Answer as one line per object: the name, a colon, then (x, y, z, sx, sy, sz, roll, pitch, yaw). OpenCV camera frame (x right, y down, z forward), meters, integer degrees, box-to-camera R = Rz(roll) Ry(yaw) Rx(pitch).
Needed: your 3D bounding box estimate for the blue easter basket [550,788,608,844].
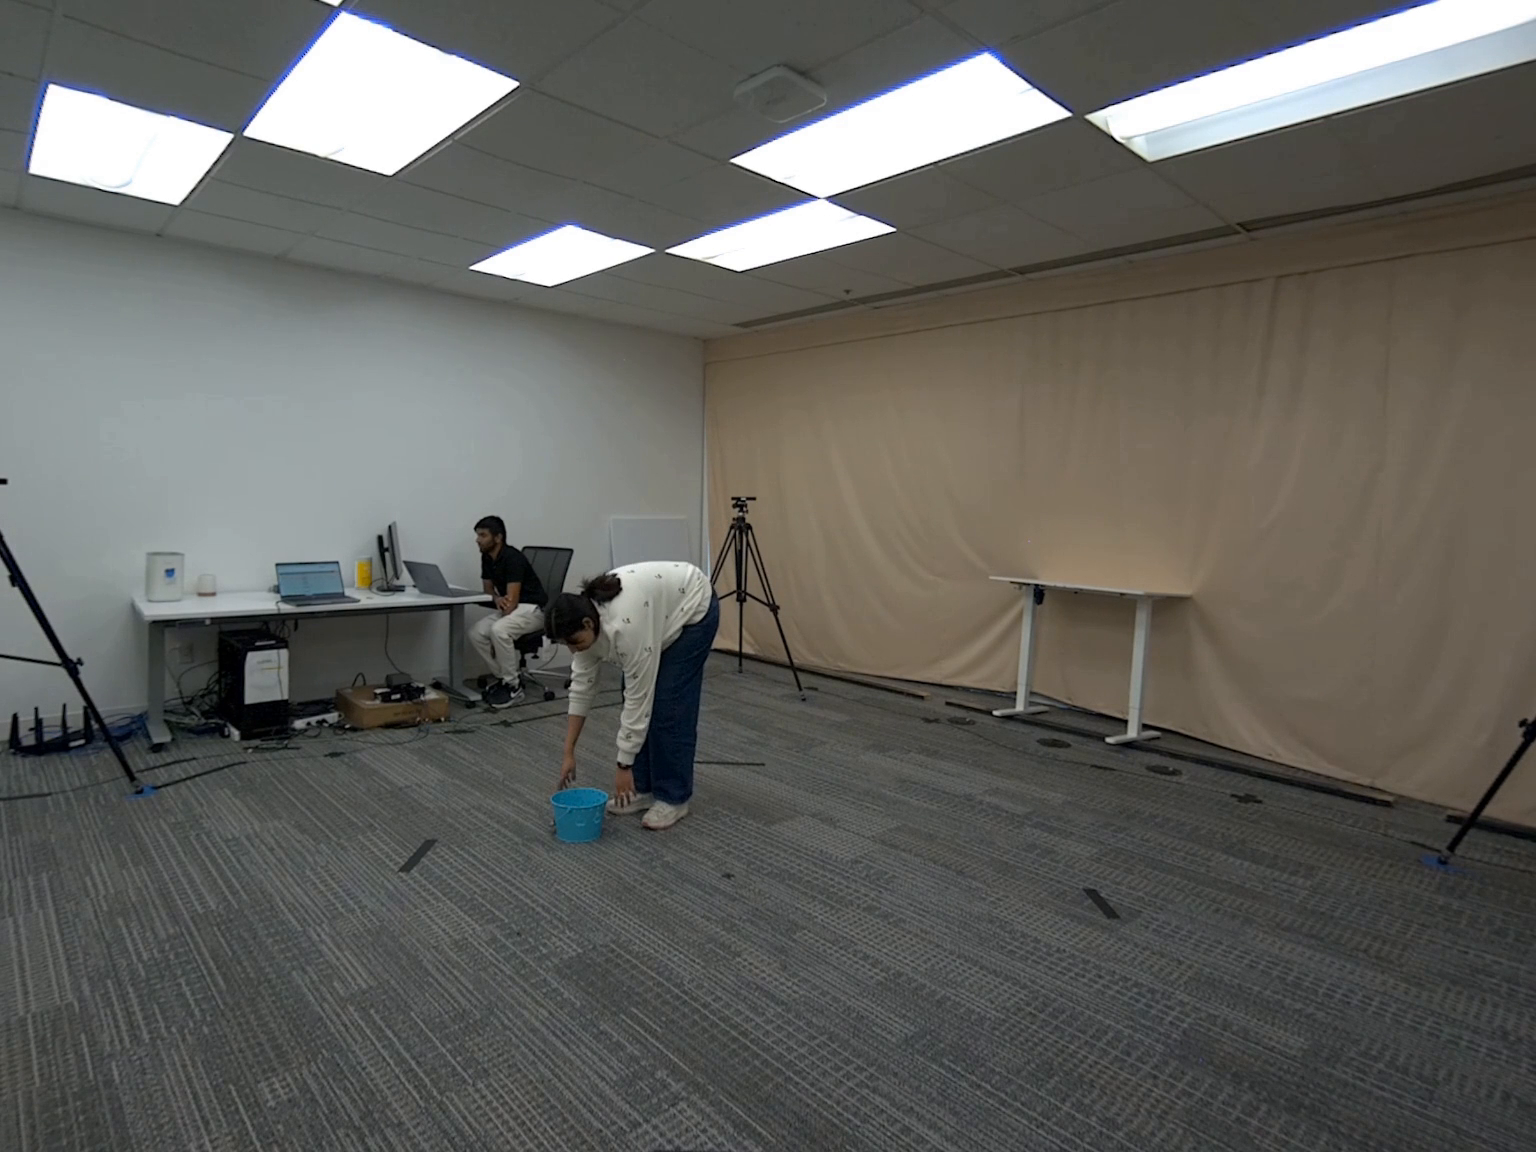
blue easter basket: (-0.786, 0.985, 3.463, 0.243, 0.155, 0.244, 2, 5, -1)
